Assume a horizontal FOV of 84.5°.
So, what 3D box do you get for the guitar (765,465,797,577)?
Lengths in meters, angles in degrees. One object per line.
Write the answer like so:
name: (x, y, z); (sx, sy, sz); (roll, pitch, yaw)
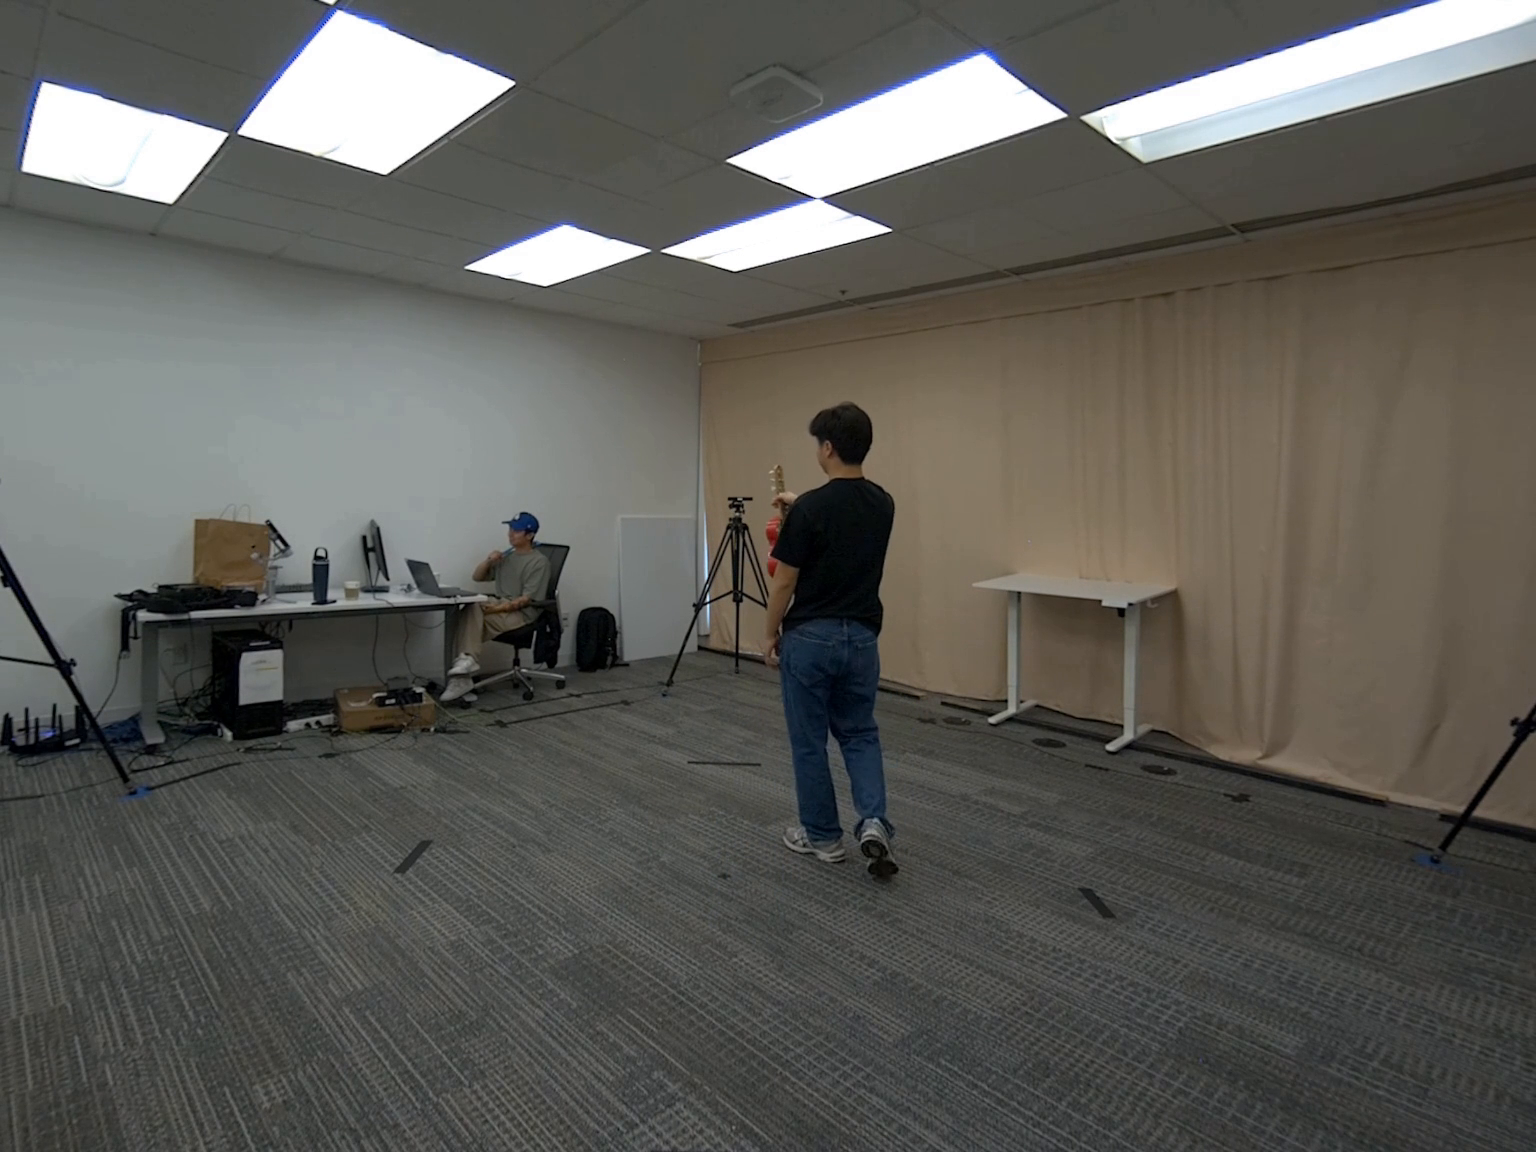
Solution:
guitar: (0.063, -0.237, 3.773); (0.072, 0.499, 0.188); (-3, -4, 37)
